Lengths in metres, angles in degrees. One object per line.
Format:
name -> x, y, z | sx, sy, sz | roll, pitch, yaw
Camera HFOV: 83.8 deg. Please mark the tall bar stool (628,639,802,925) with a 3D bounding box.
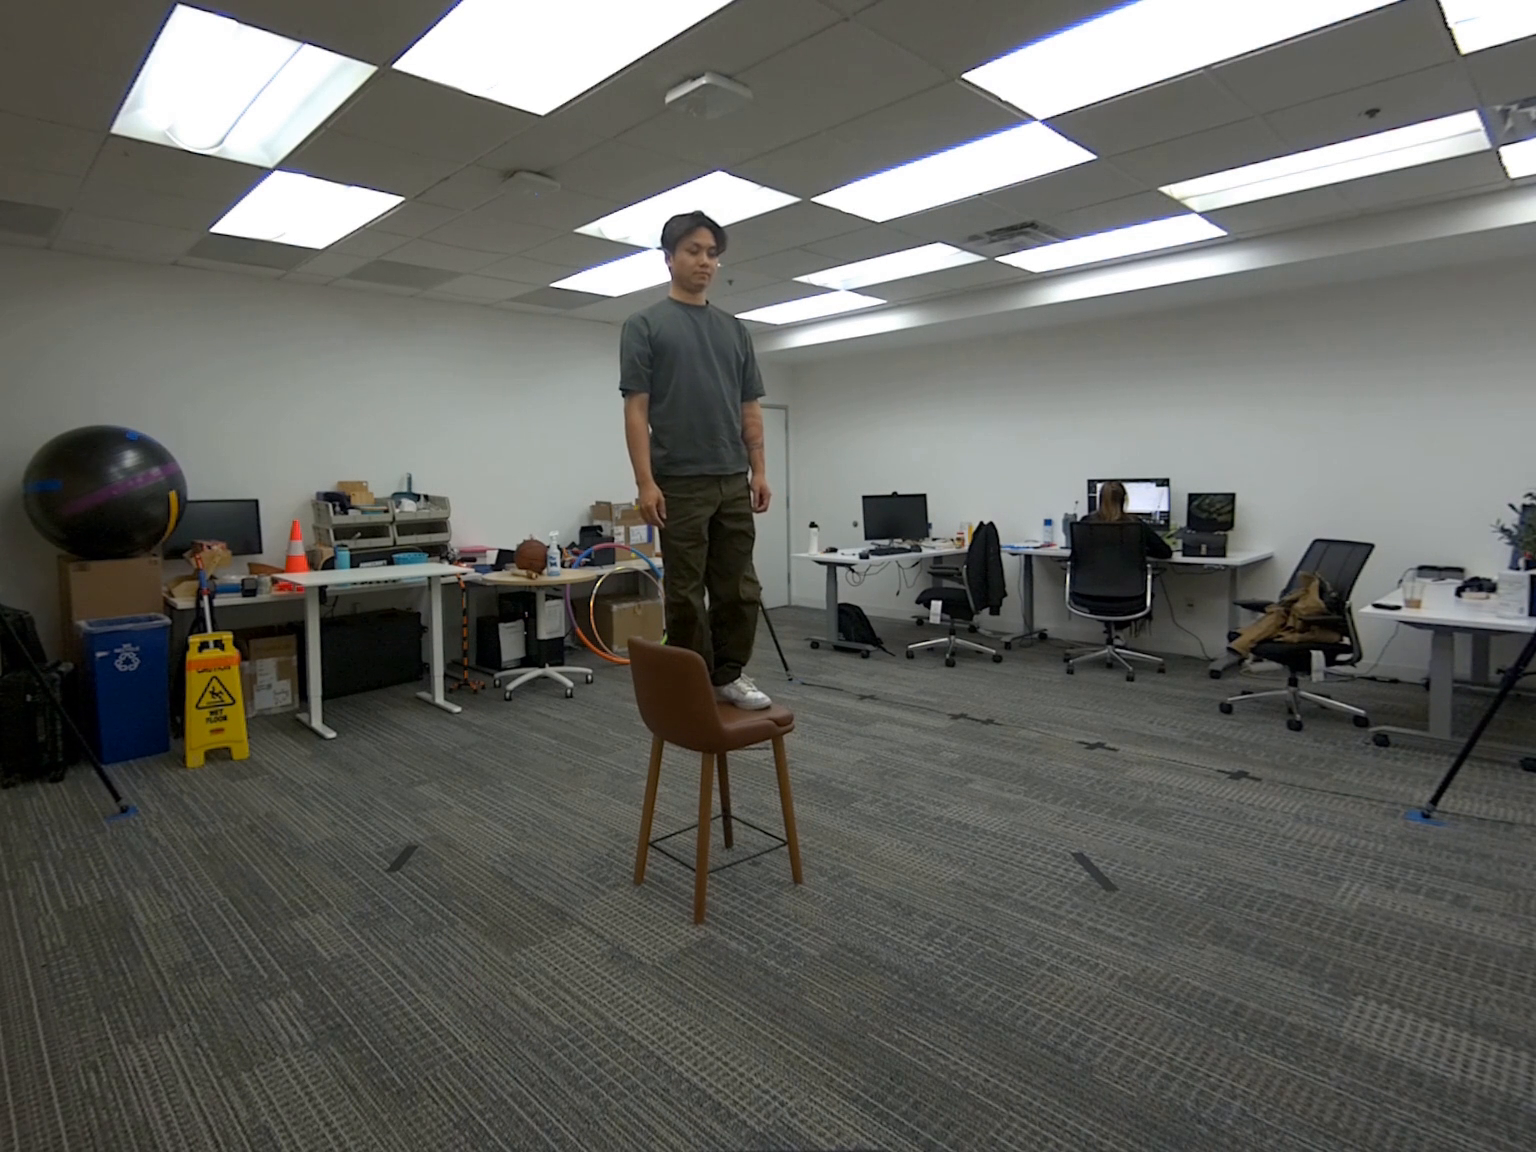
tall bar stool -> -0.187, 0.630, 2.936 | 0.456, 0.885, 0.470 | -7, 7, -40
